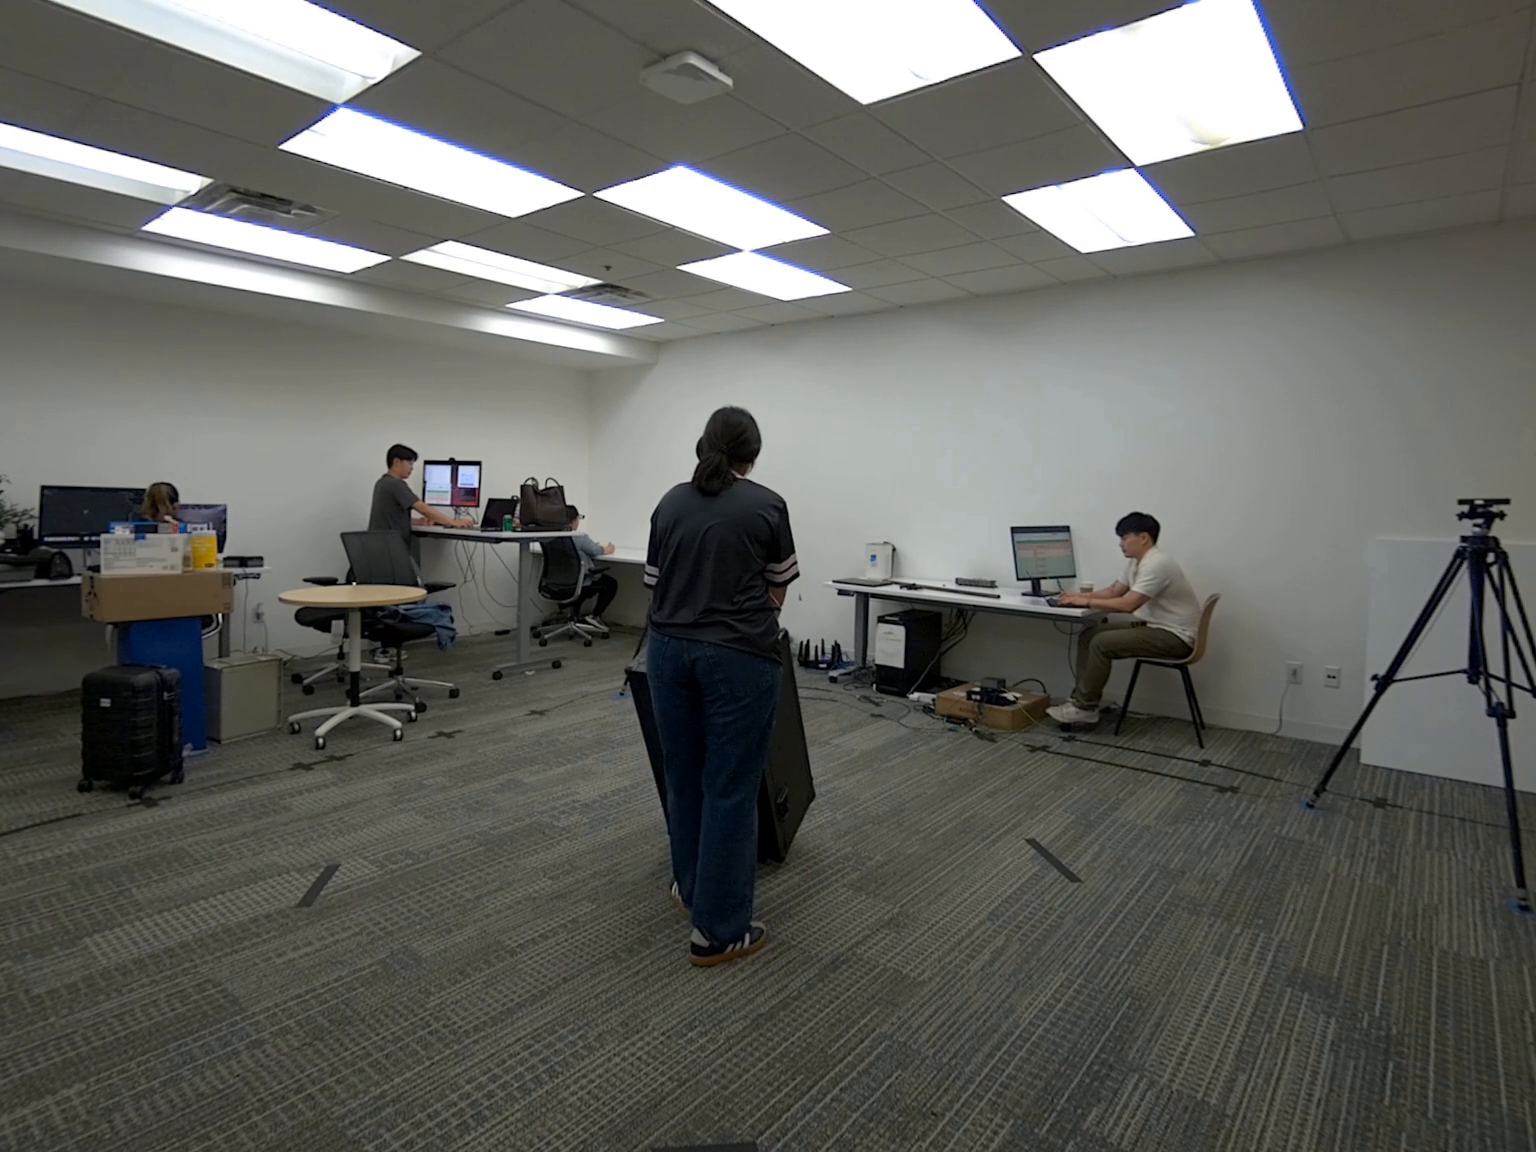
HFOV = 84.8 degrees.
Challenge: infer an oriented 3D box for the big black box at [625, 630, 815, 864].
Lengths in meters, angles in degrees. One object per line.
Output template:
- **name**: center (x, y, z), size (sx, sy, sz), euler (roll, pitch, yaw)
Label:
- **big black box**: center (-0.167, 0.625, 3.189), size (0.537, 0.846, 0.385), euler (3, 28, 25)
